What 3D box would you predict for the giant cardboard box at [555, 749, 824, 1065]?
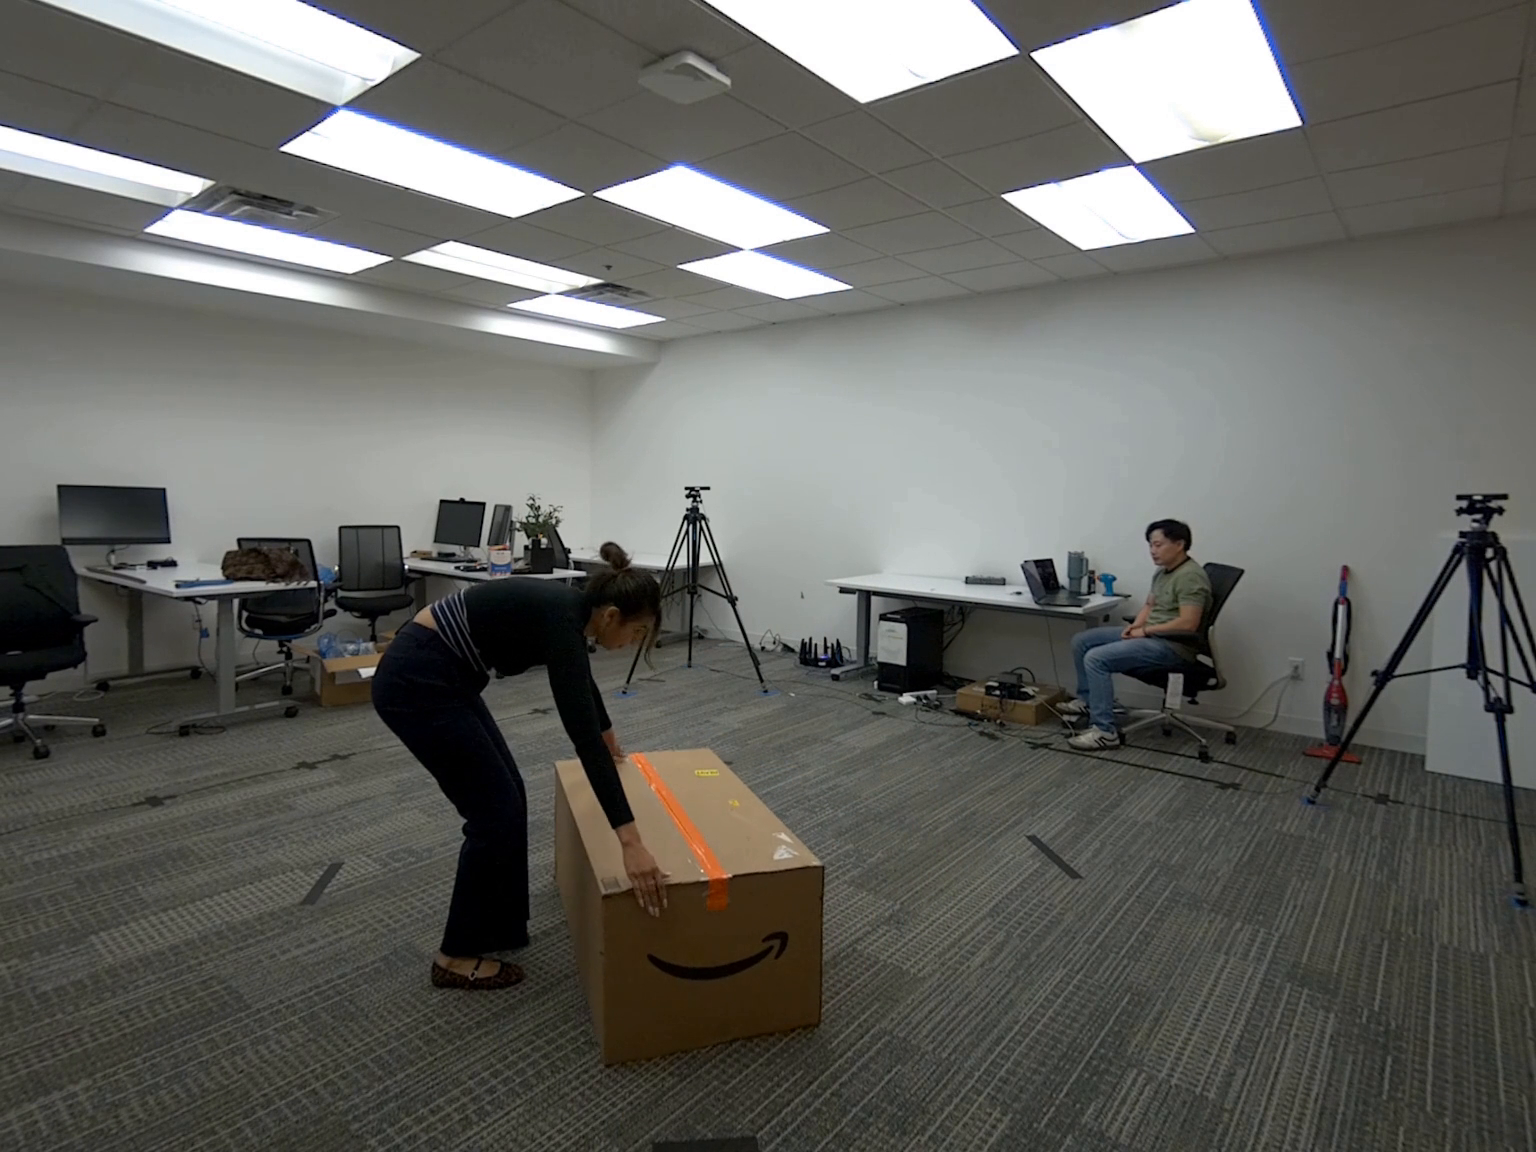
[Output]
[{"bbox_3d":[-0.307,0.898,2.598,0.566,0.424,1.050,-1,6,-20],"label":"giant cardboard box"}]
